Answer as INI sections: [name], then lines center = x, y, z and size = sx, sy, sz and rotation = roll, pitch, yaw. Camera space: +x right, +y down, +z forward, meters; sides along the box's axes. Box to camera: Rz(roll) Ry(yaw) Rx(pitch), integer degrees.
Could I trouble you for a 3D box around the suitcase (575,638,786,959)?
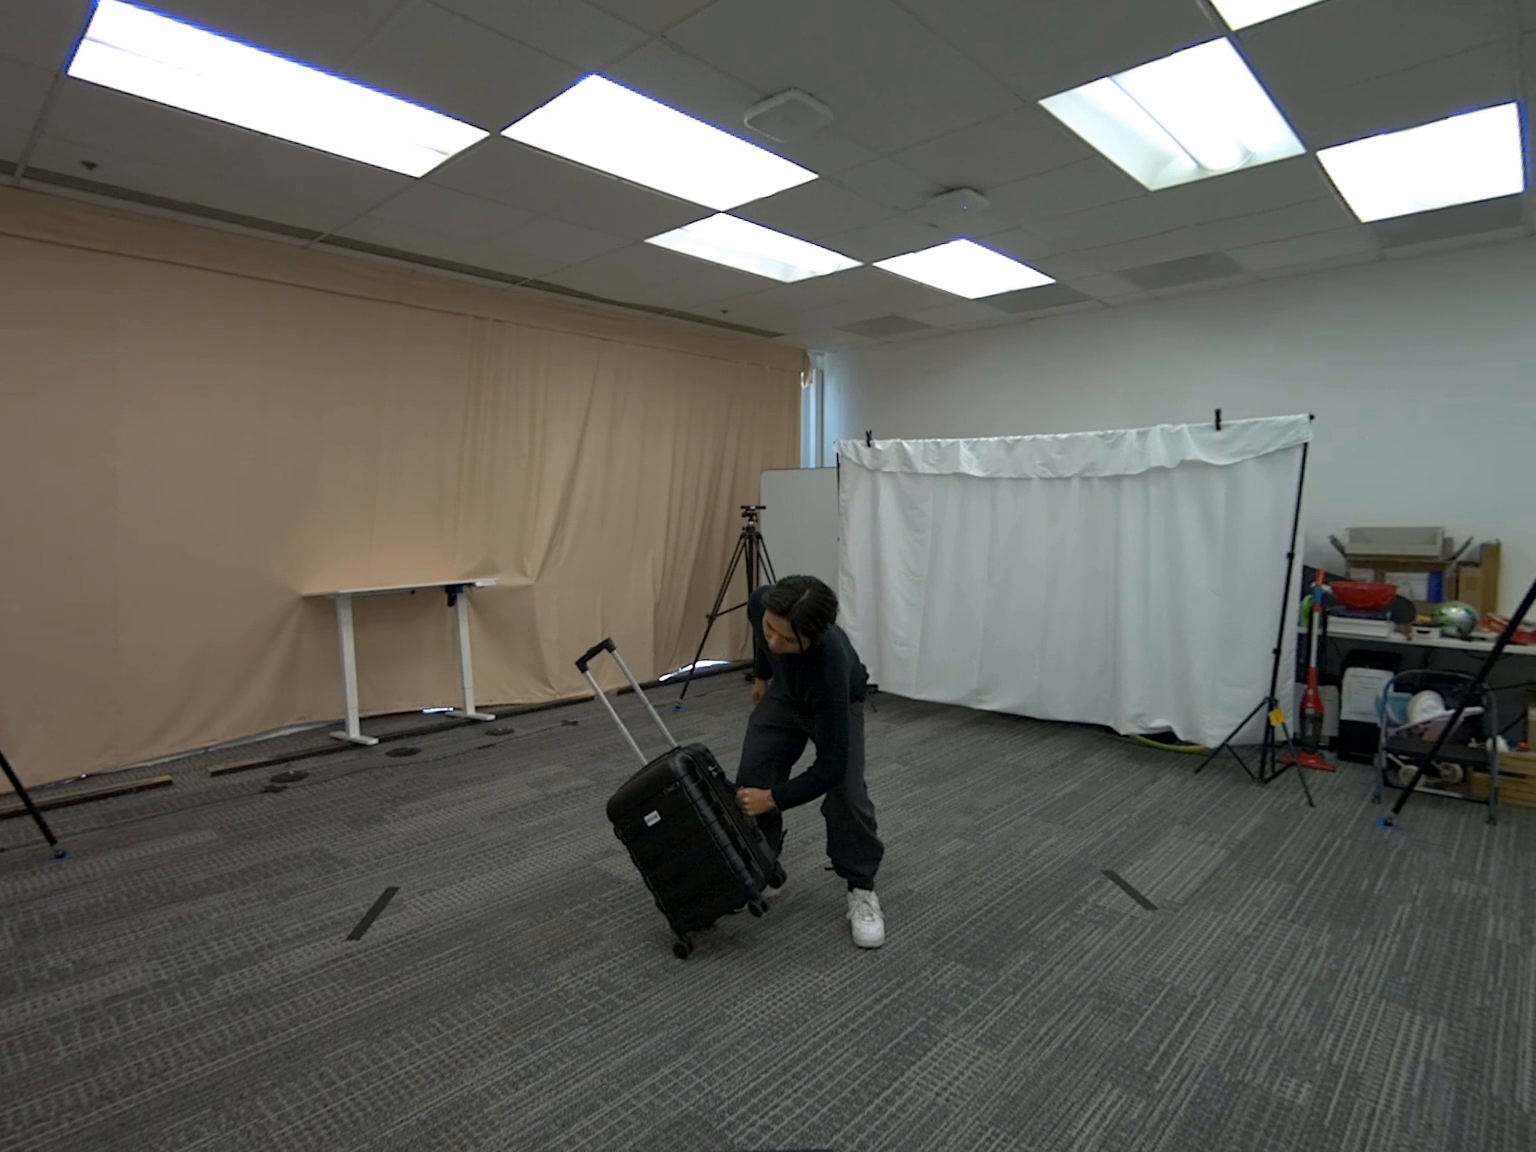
[suitcase]
center = -0.350, 0.676, 2.705
size = 0.387, 0.986, 0.253
rotation = -36, -7, 18
